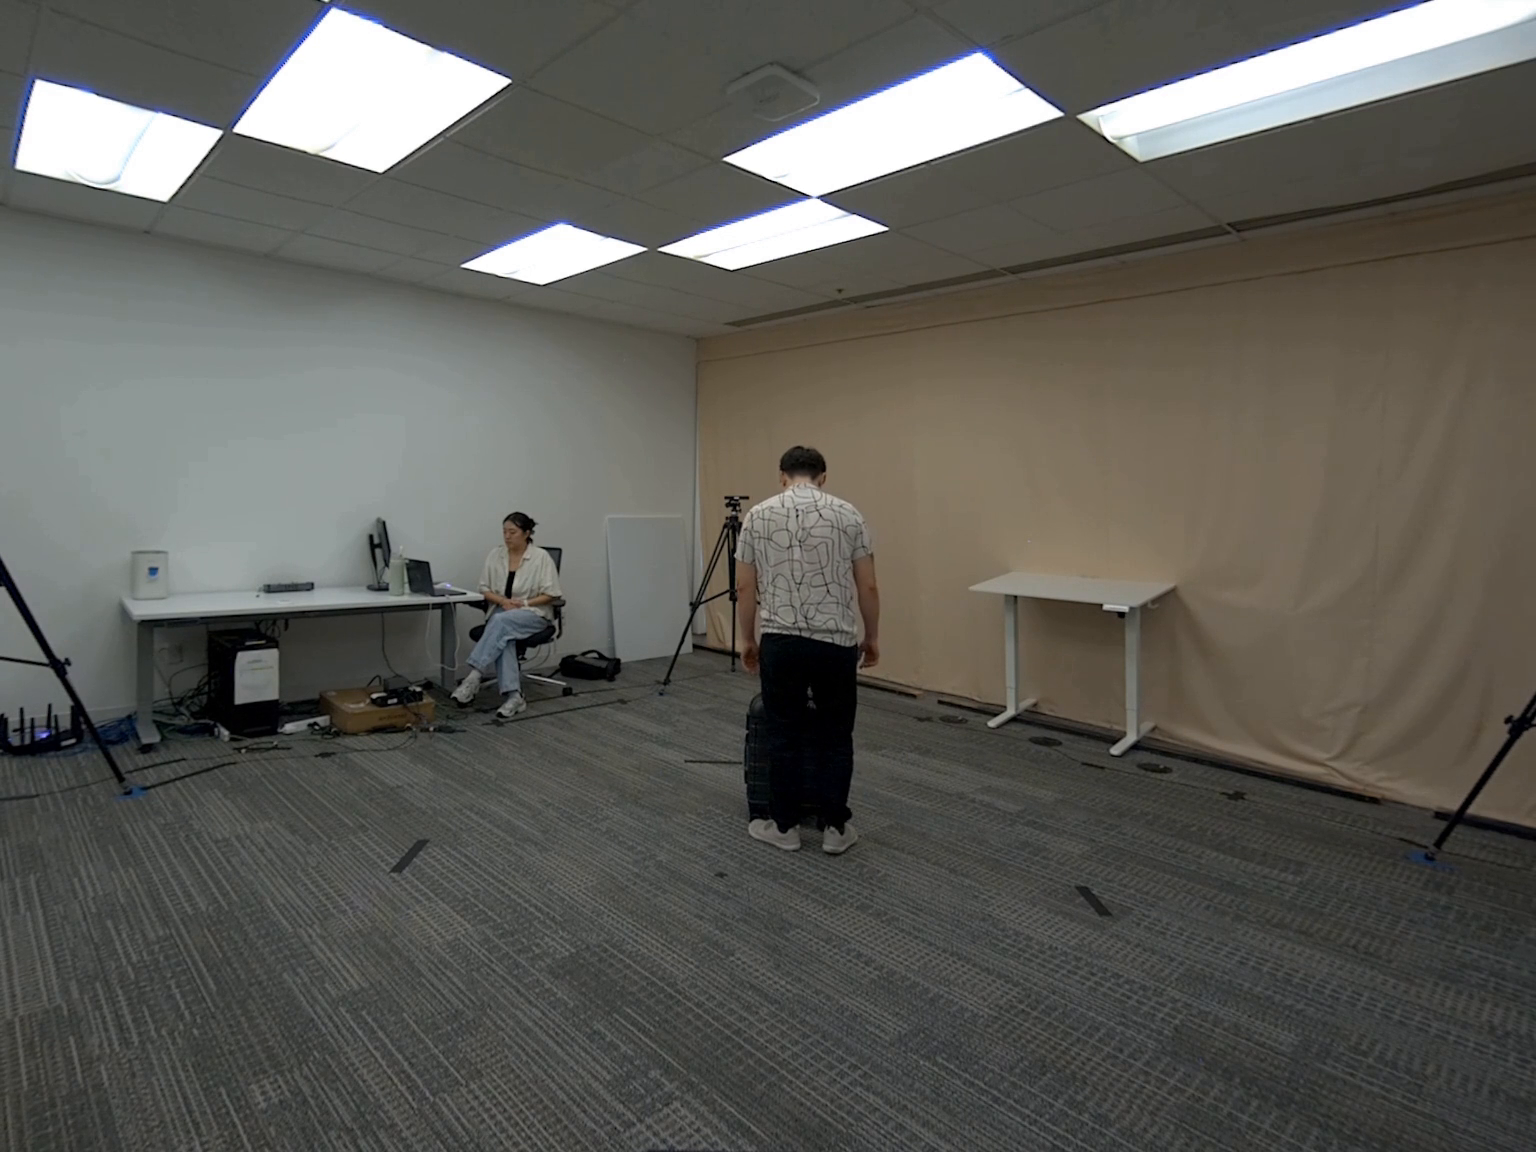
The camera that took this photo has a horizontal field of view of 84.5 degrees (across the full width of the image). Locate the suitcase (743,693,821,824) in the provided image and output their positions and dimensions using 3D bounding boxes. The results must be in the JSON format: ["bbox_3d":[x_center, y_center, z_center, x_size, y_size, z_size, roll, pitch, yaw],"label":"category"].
[{"bbox_3d":[0.082,0.786,3.677,0.377,0.548,0.248,1,3,5],"label":"suitcase"}]
